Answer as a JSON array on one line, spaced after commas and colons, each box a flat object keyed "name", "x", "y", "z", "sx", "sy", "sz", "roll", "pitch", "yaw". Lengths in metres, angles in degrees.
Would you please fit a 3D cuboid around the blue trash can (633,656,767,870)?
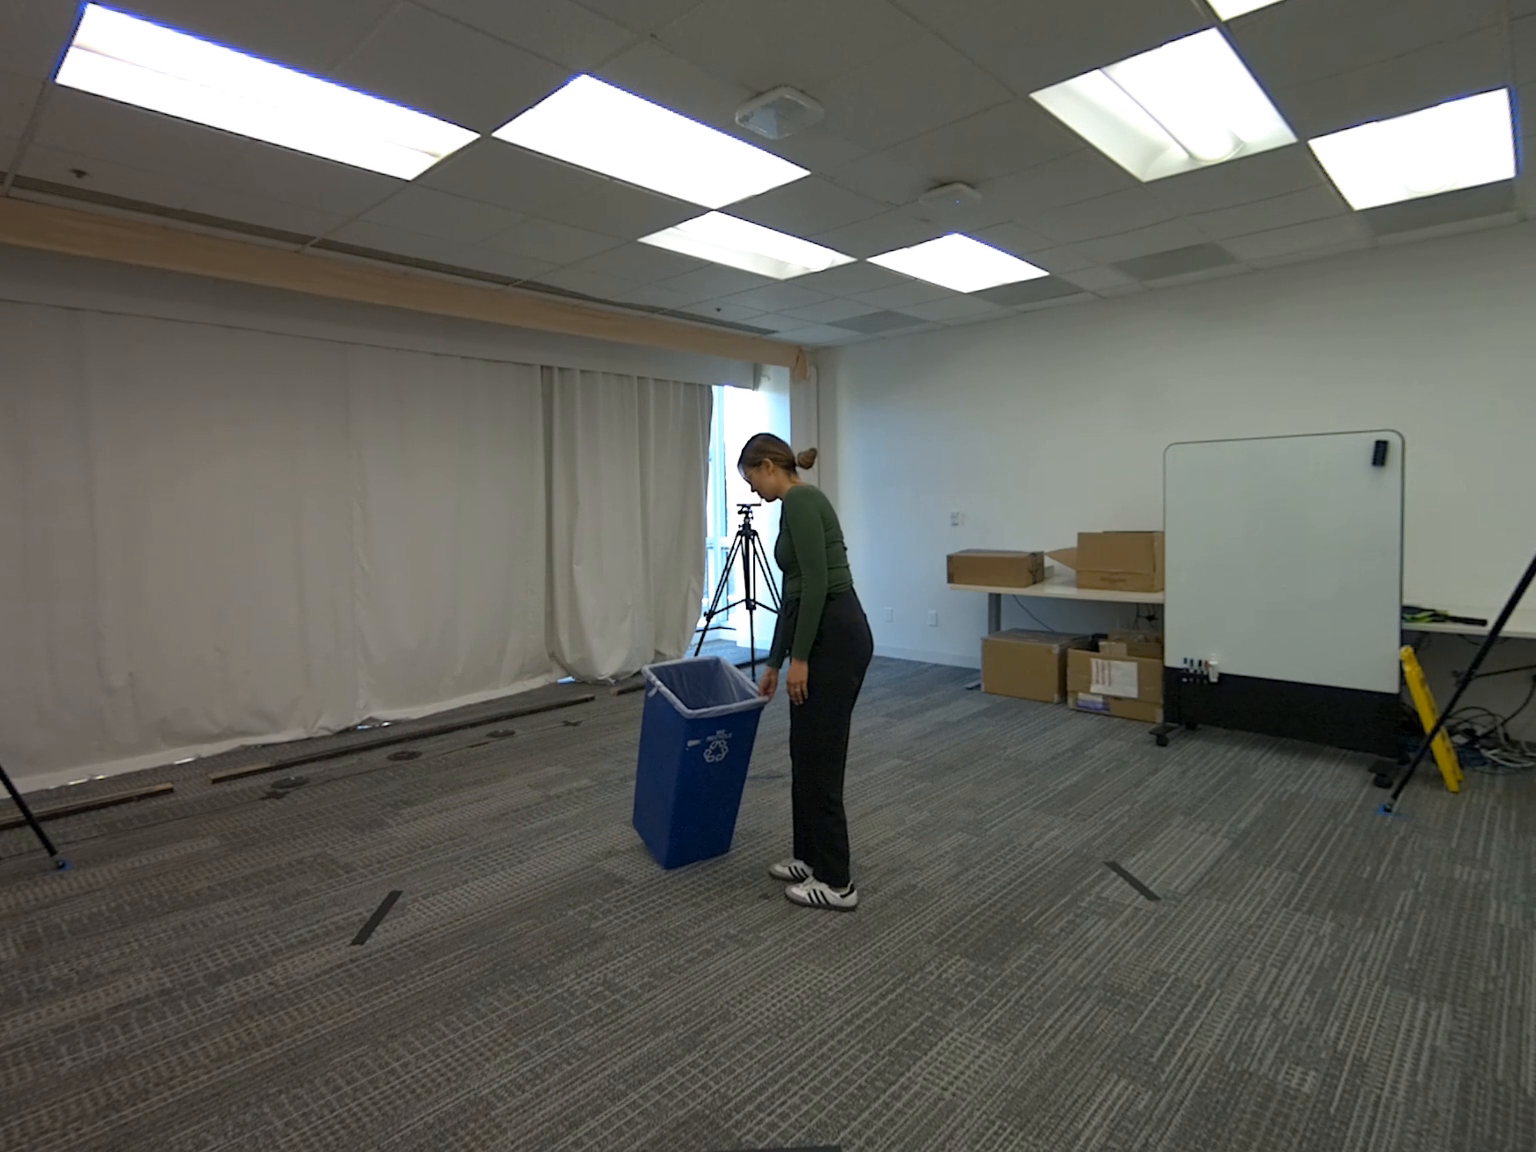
[{"name": "blue trash can", "x": -0.304, "y": 0.728, "z": 3.294, "sx": 0.367, "sy": 0.708, "sz": 0.388, "roll": -4, "pitch": 24, "yaw": -35}]
